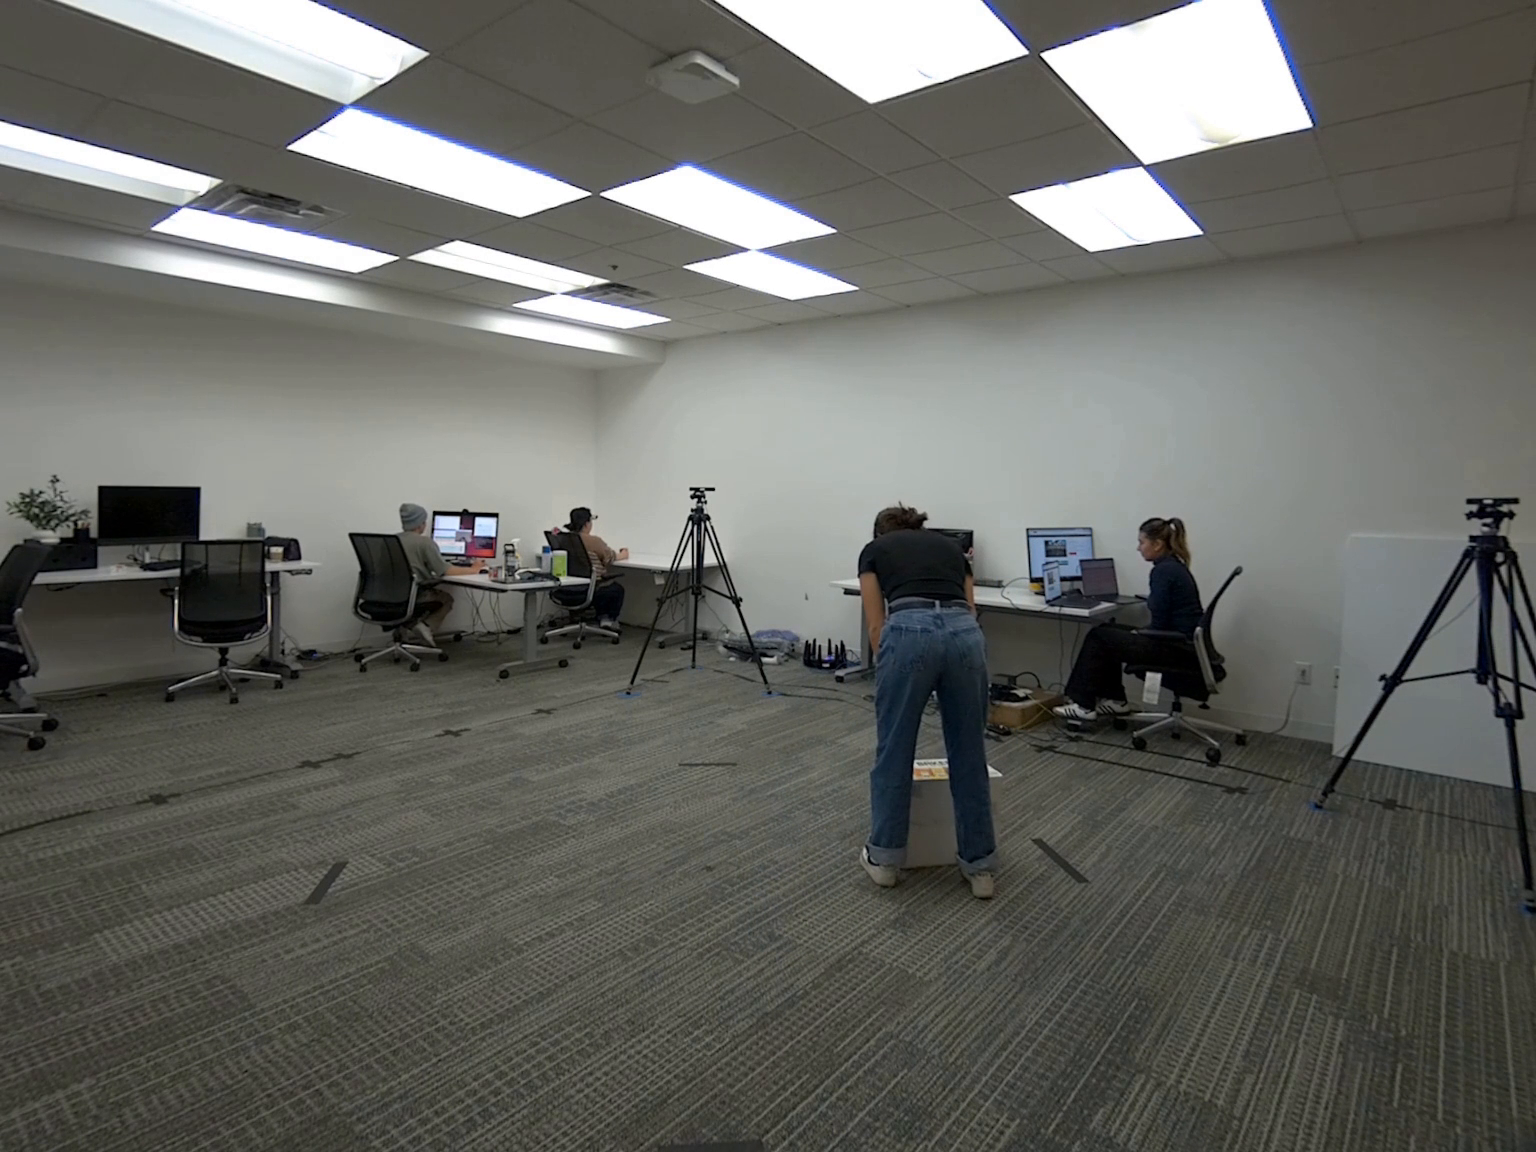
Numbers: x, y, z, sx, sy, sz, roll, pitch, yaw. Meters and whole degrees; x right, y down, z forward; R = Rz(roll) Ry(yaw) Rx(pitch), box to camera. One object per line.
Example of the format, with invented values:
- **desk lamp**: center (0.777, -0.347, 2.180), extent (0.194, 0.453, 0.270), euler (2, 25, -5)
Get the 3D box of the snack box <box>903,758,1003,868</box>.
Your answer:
- **snack box**: center (0.644, 0.898, 3.261), extent (0.399, 0.339, 0.210), euler (1, 5, -15)
